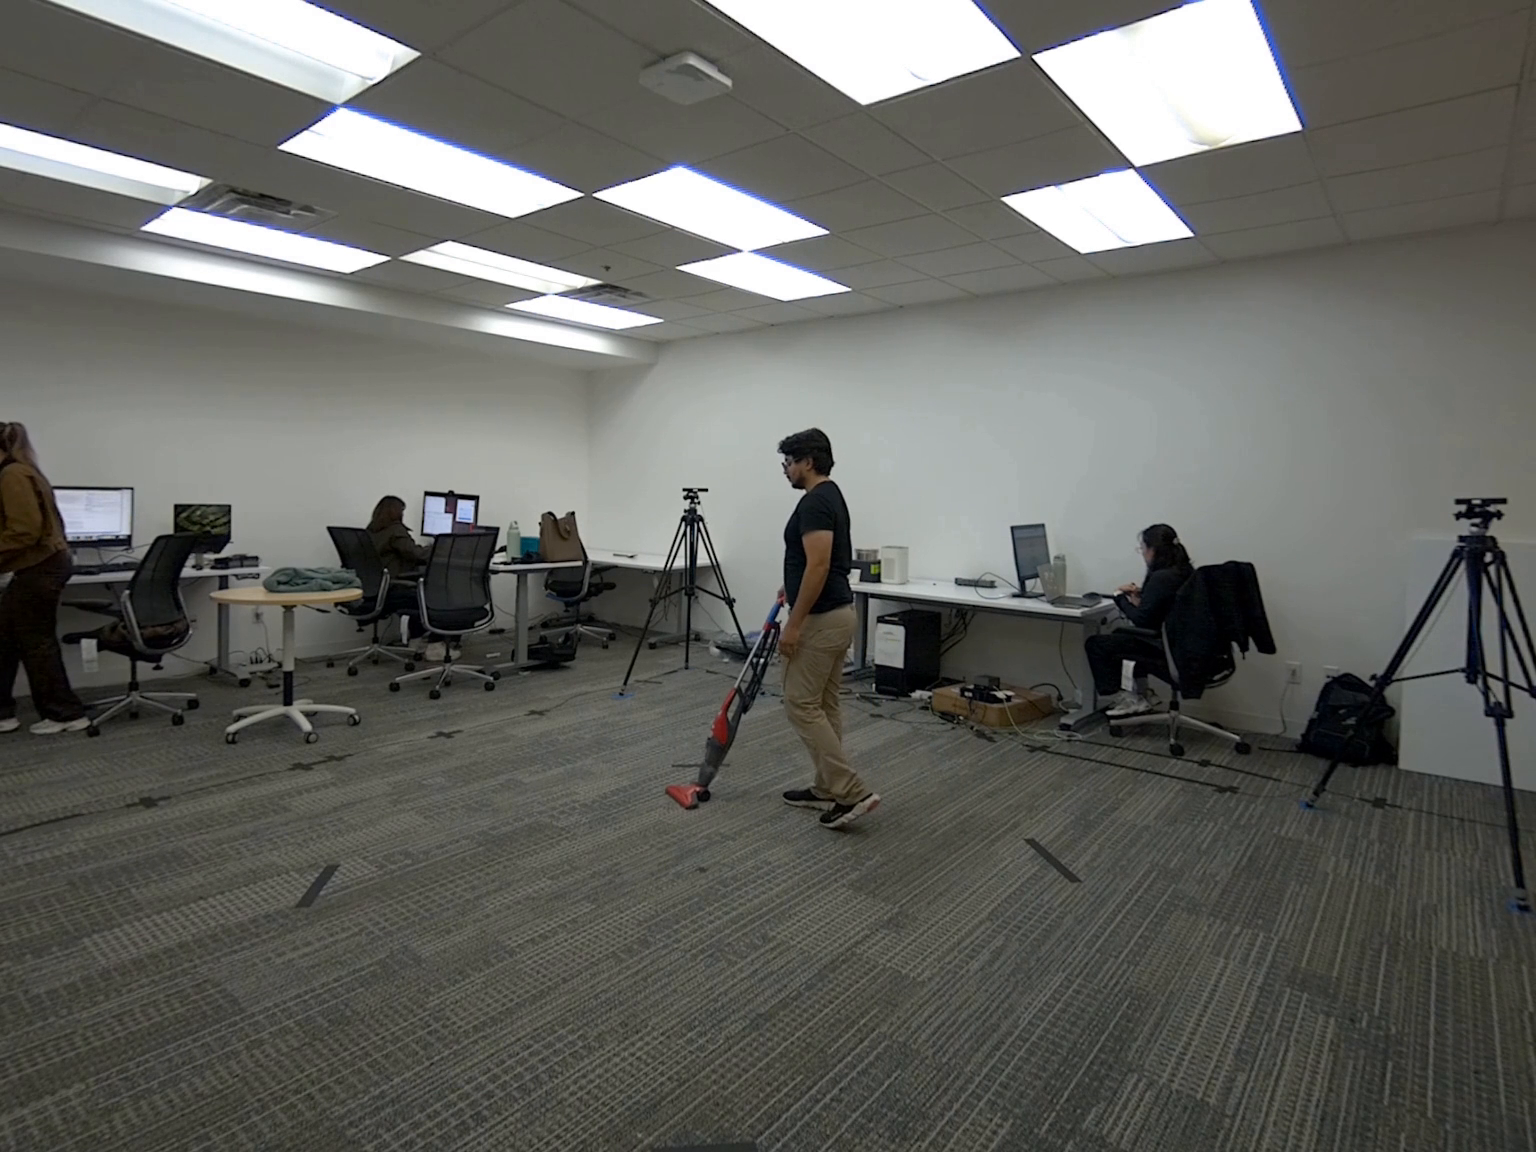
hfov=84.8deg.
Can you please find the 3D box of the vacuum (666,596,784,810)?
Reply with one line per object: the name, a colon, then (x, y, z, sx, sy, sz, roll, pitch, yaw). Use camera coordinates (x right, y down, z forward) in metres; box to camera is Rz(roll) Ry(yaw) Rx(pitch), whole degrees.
vacuum: (-0.127, 0.538, 3.925, 0.139, 1.054, 0.261, 33, -13, -31)
